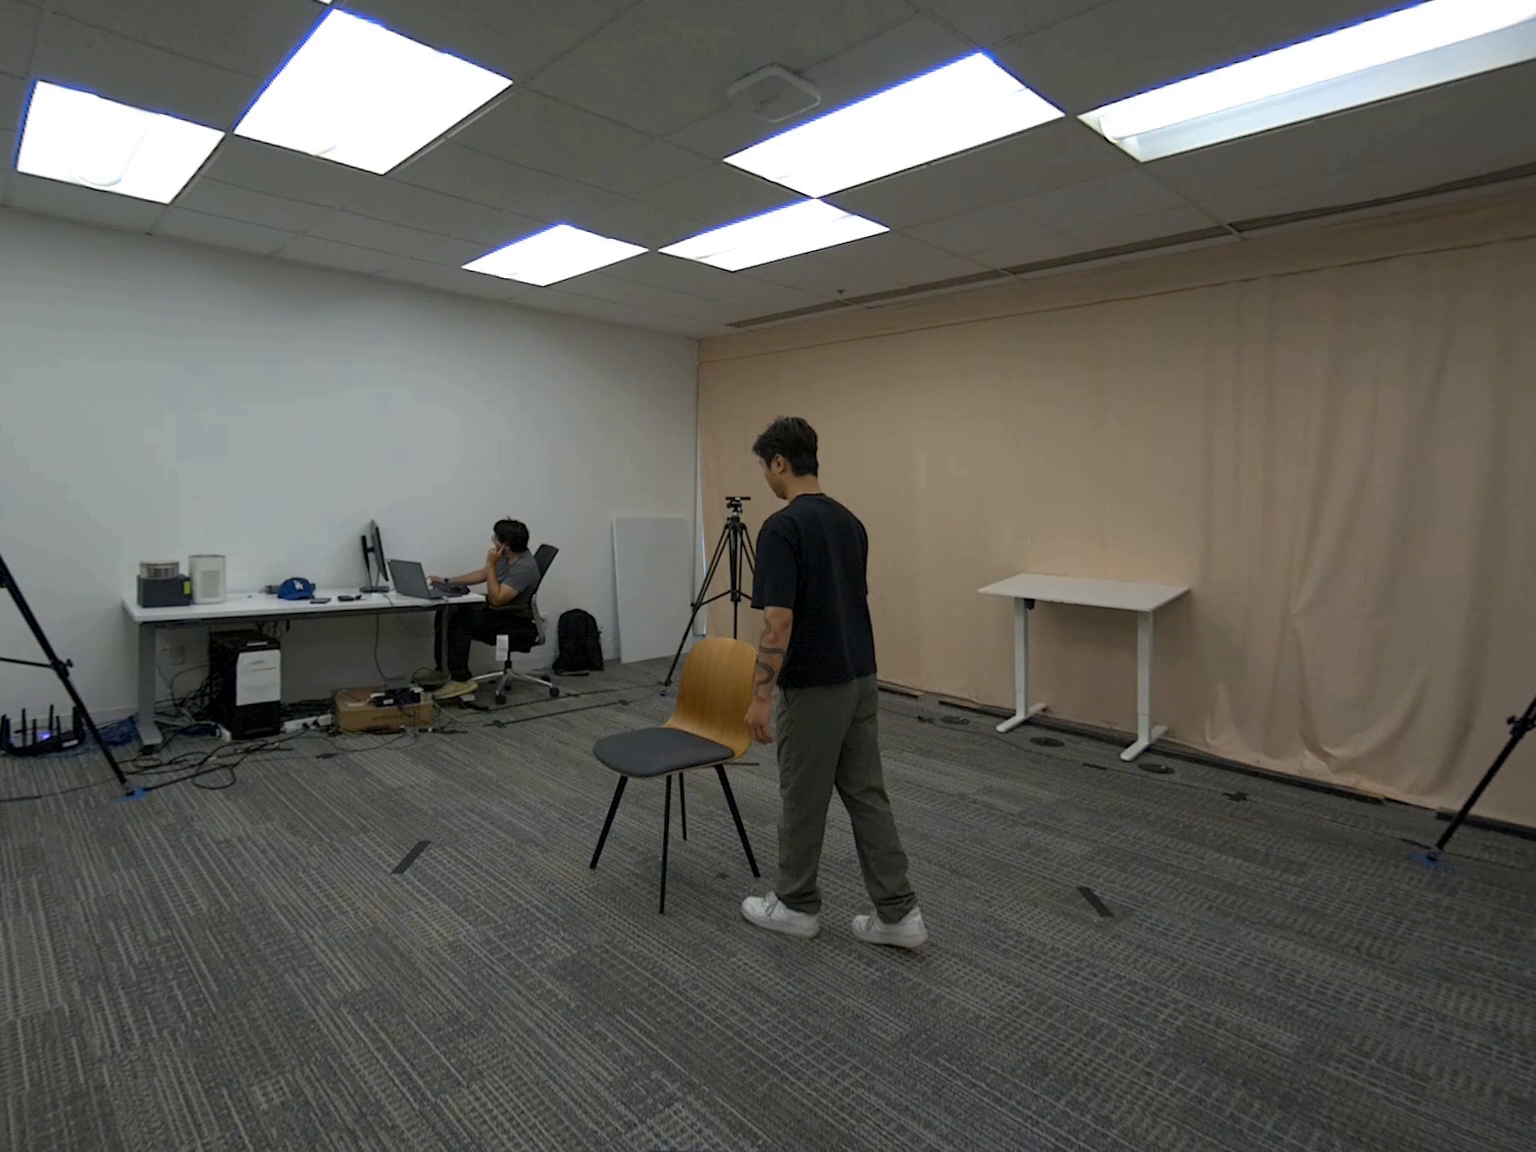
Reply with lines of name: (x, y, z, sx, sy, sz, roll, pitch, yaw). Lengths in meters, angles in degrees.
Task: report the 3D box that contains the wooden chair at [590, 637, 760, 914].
wooden chair: (-0.347, 0.677, 3.087, 0.510, 0.877, 0.490, 4, 1, -42)
